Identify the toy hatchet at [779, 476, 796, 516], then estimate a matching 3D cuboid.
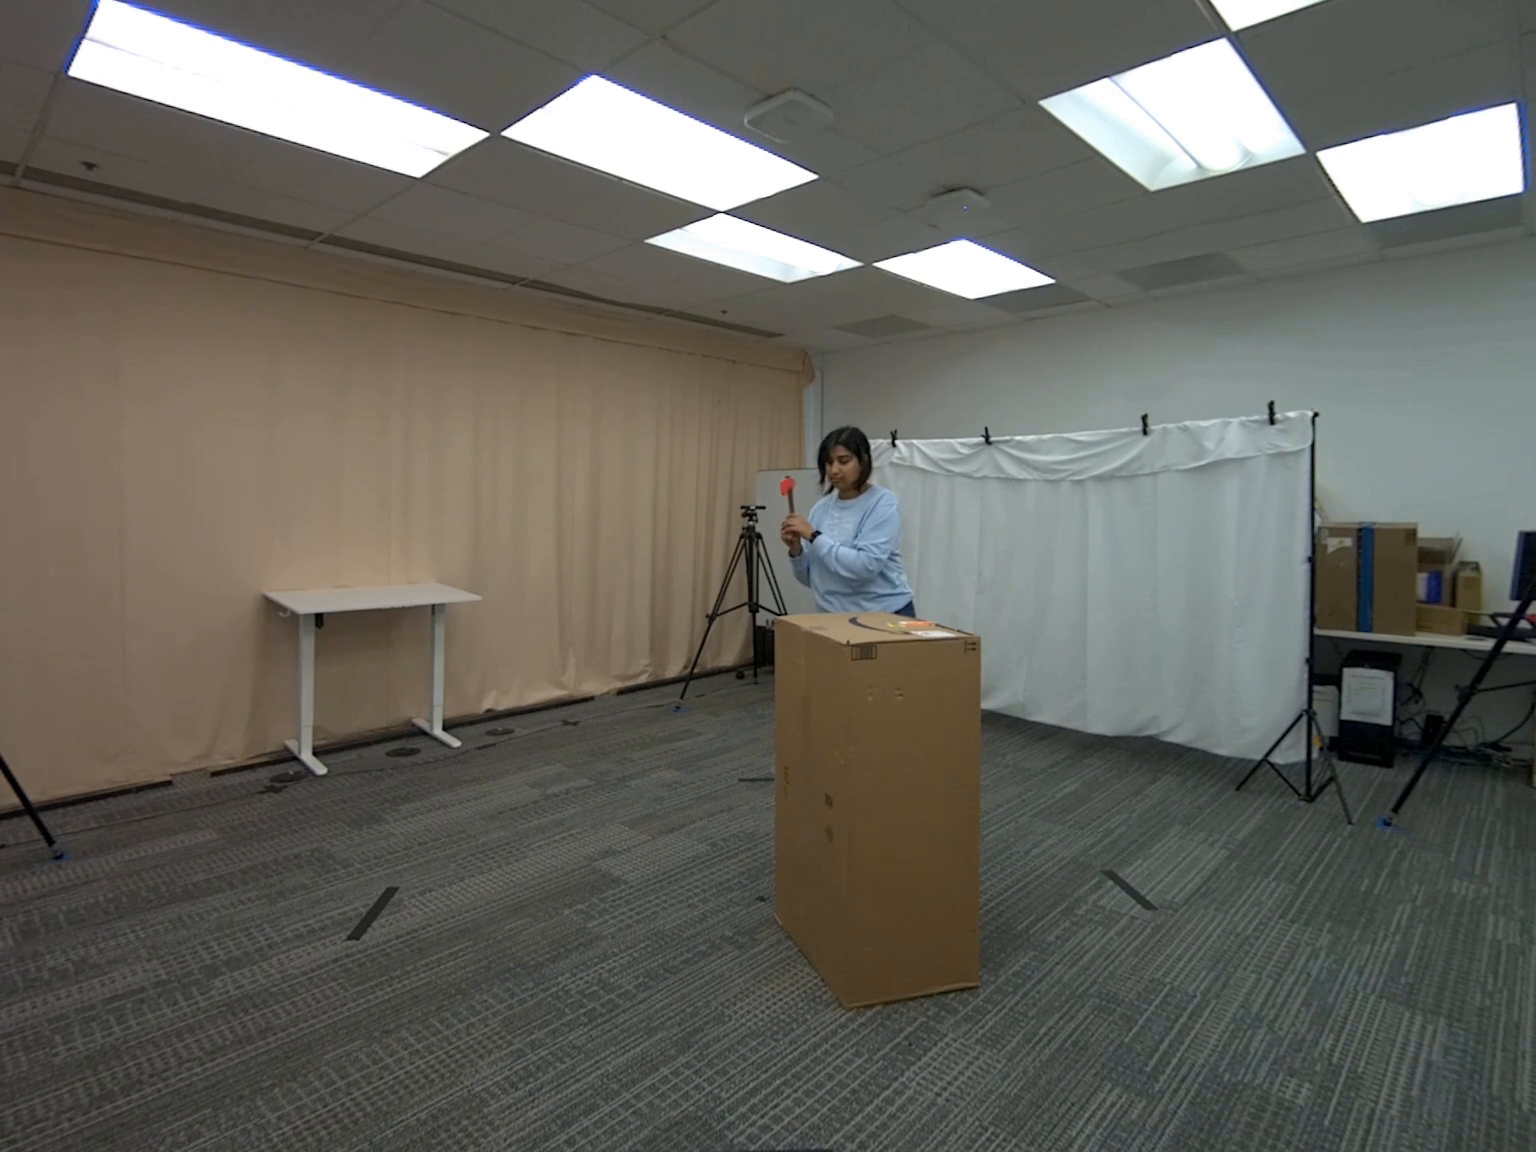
[{"bbox_3d":[0.088,-0.265,3.350,0.030,0.272,0.126,-8,-18,31],"label":"toy hatchet"}]
